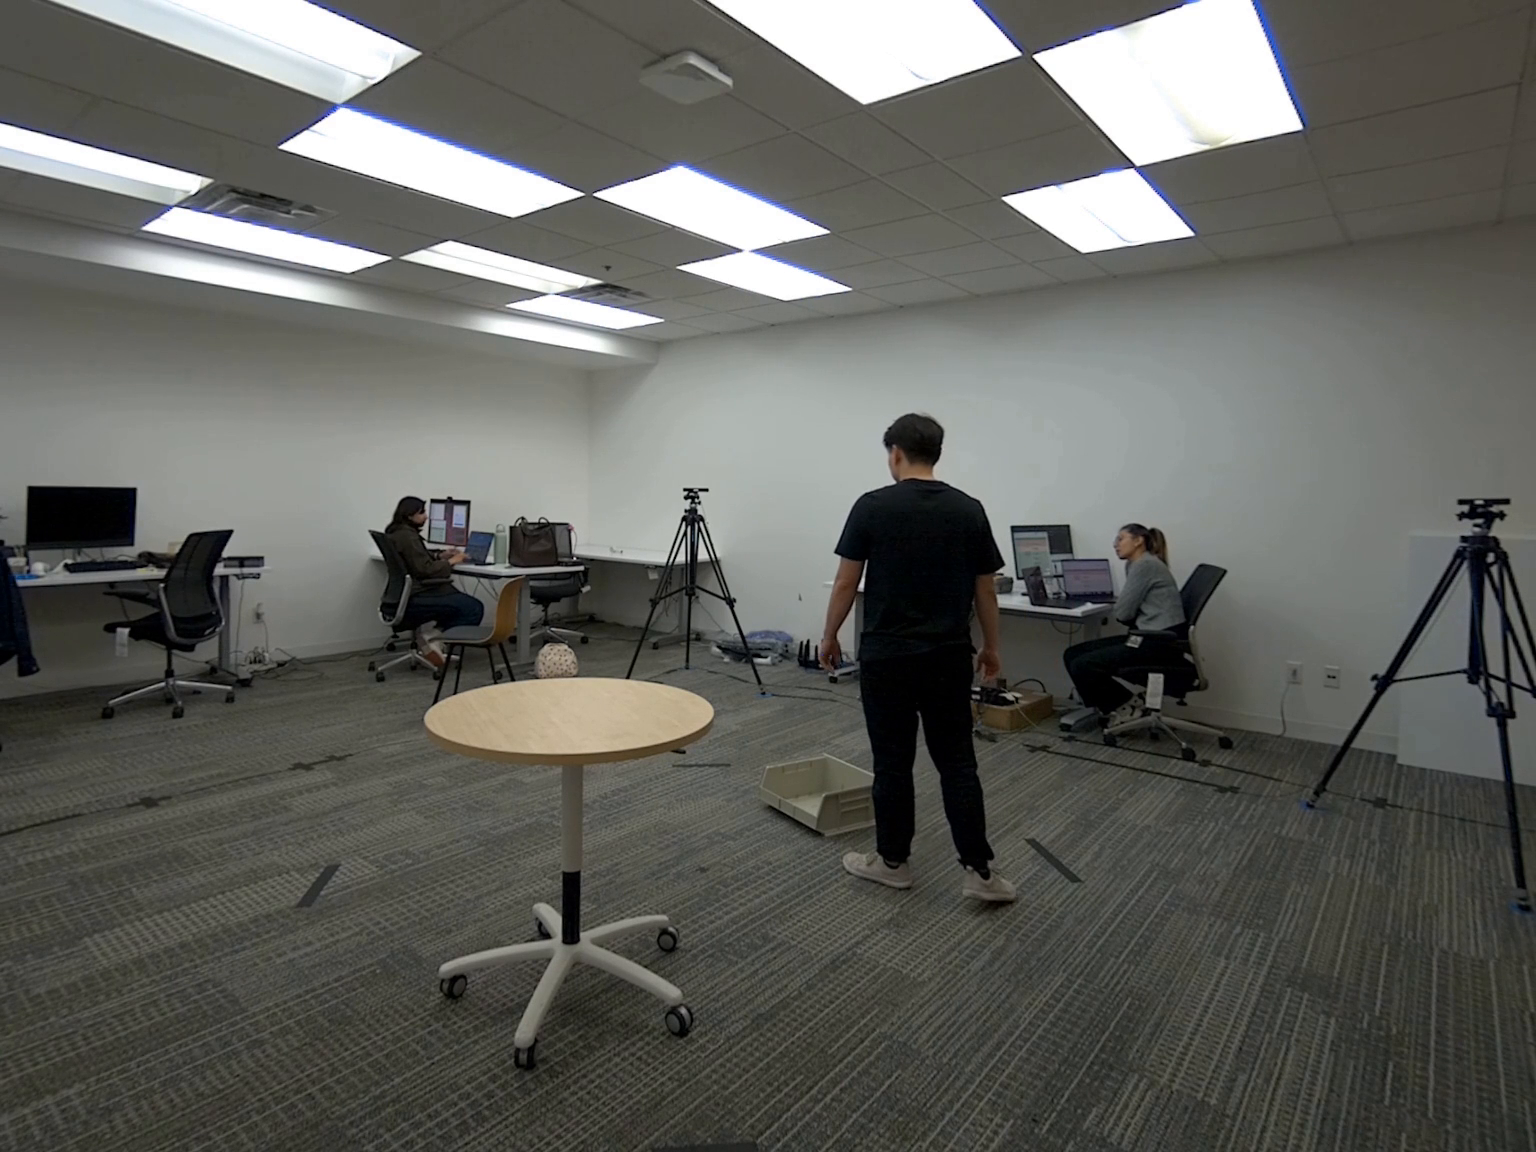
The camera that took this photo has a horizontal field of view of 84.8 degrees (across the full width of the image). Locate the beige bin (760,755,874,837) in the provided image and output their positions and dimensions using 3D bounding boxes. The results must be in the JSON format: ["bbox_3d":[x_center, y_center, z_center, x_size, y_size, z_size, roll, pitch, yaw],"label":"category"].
[{"bbox_3d":[0.221,0.935,3.670,0.366,0.188,0.436,-1,5,-34],"label":"beige bin"}]
